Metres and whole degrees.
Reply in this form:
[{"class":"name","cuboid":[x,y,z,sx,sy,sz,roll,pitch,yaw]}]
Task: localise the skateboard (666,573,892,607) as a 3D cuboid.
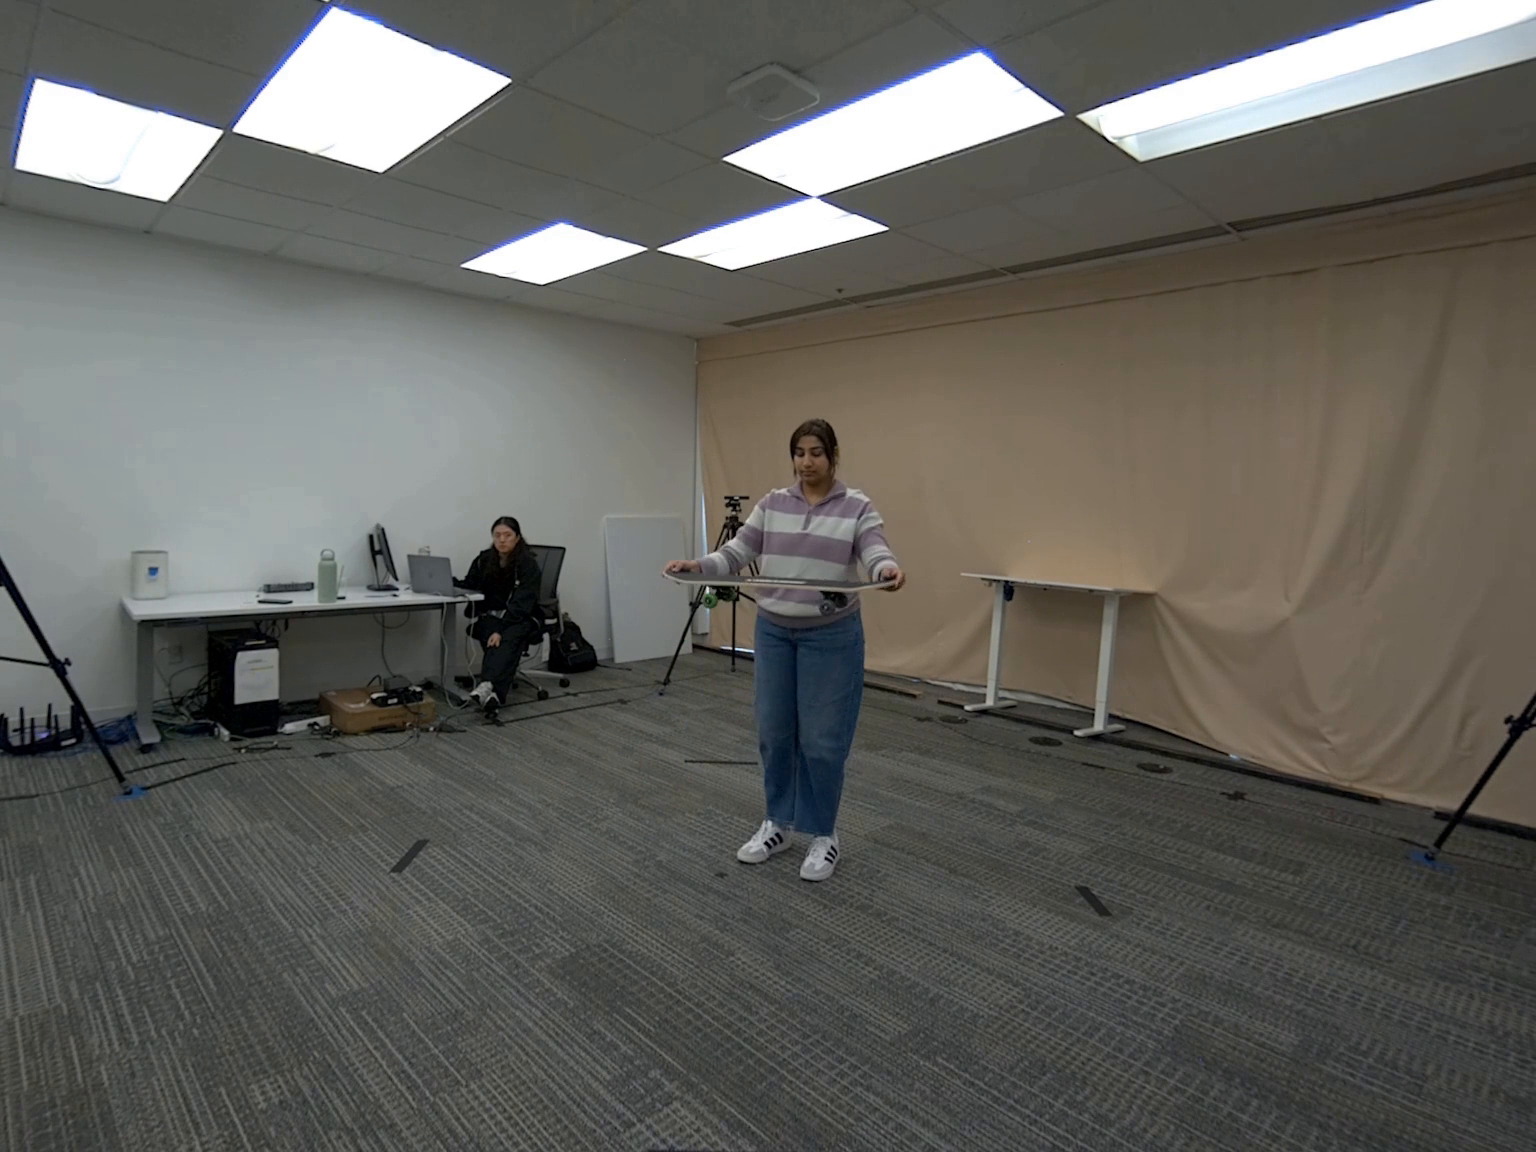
[{"class":"skateboard","cuboid":[0.043,0.050,2.747,0.798,0.109,0.192,2,12,21]}]
